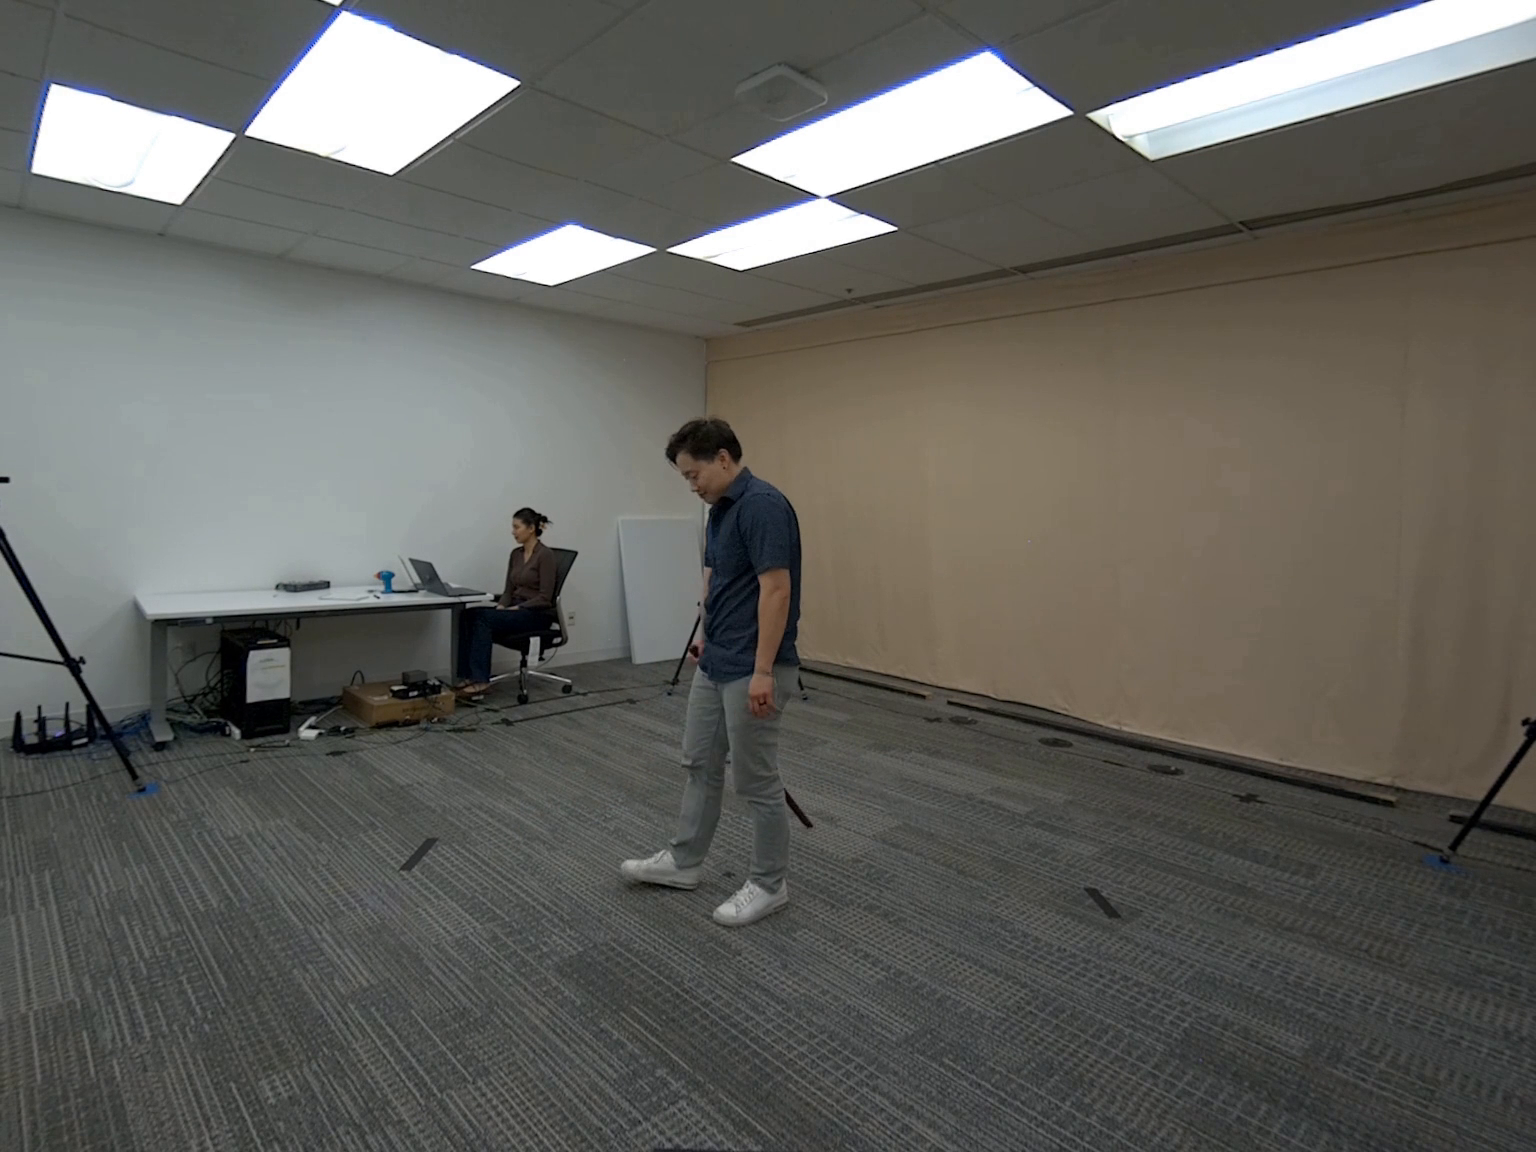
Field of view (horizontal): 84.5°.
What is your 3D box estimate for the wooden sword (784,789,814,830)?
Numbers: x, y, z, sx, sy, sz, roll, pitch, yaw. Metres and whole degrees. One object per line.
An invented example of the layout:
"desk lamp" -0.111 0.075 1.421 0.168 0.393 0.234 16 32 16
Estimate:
"wooden sword" -0.073 0.675 3.397 0.024 1.002 0.052 -37 24 -16
